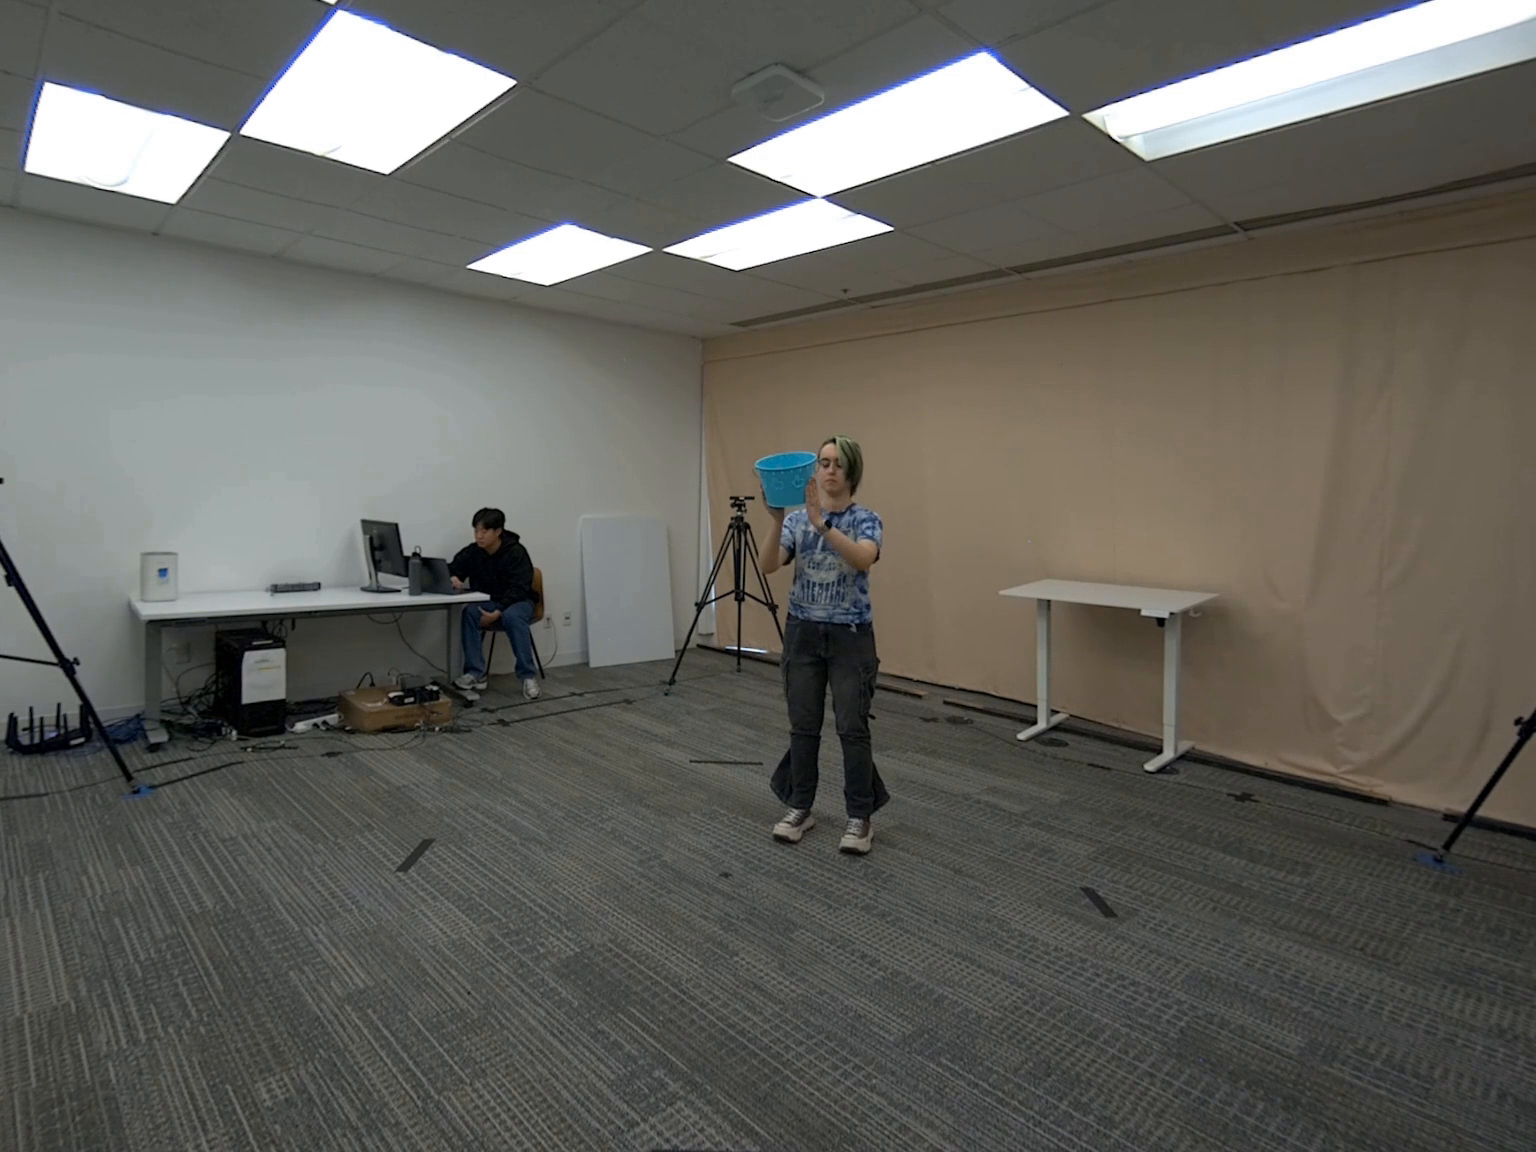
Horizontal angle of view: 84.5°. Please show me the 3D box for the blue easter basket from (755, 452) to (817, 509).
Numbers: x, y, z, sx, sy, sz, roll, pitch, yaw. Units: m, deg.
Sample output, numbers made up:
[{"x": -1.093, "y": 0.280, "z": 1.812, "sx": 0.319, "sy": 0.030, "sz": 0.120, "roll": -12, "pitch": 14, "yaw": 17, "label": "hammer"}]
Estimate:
[{"x": 0.079, "y": -0.366, "z": 3.114, "sx": 0.244, "sy": 0.153, "sz": 0.247, "roll": -7, "pitch": 20, "yaw": 1, "label": "blue easter basket"}]
